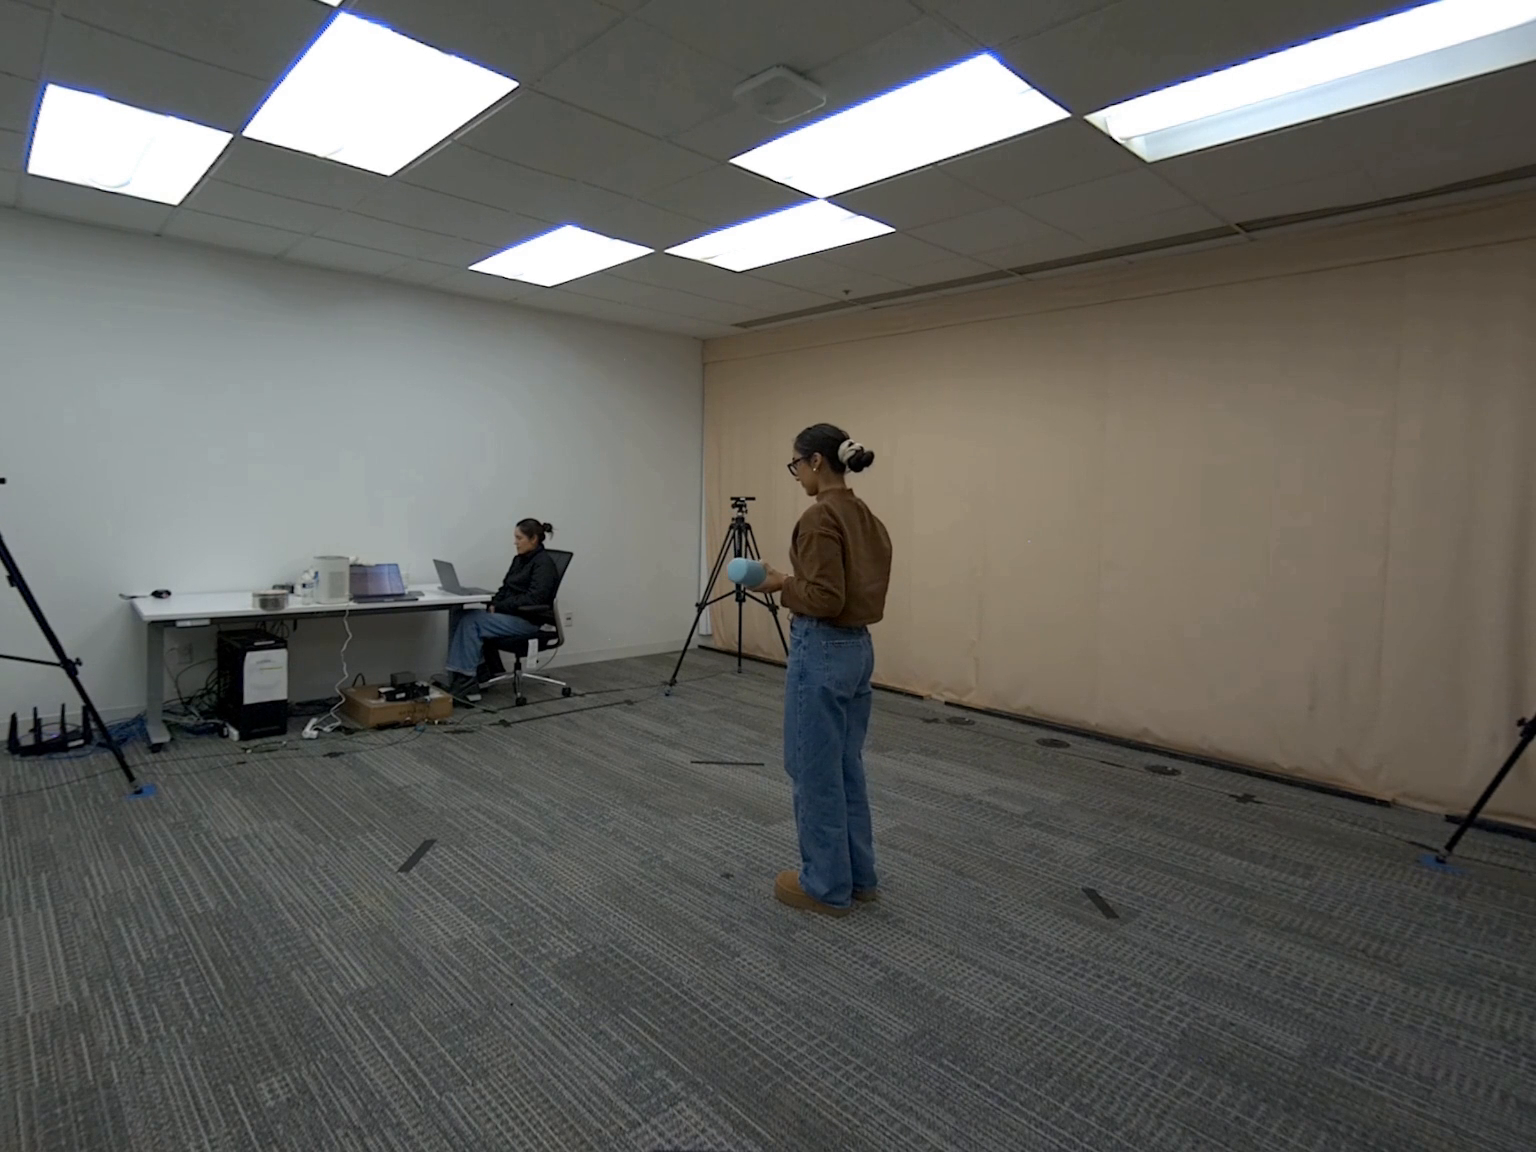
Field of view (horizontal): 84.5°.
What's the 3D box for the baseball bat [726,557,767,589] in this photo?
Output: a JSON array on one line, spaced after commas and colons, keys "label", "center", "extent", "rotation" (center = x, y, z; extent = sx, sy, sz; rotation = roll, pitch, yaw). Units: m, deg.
[{"label": "baseball bat", "center": [0.024, 0.020, 2.962], "extent": [0.091, 0.089, 0.529], "rotation": [4, -5, 29]}]
